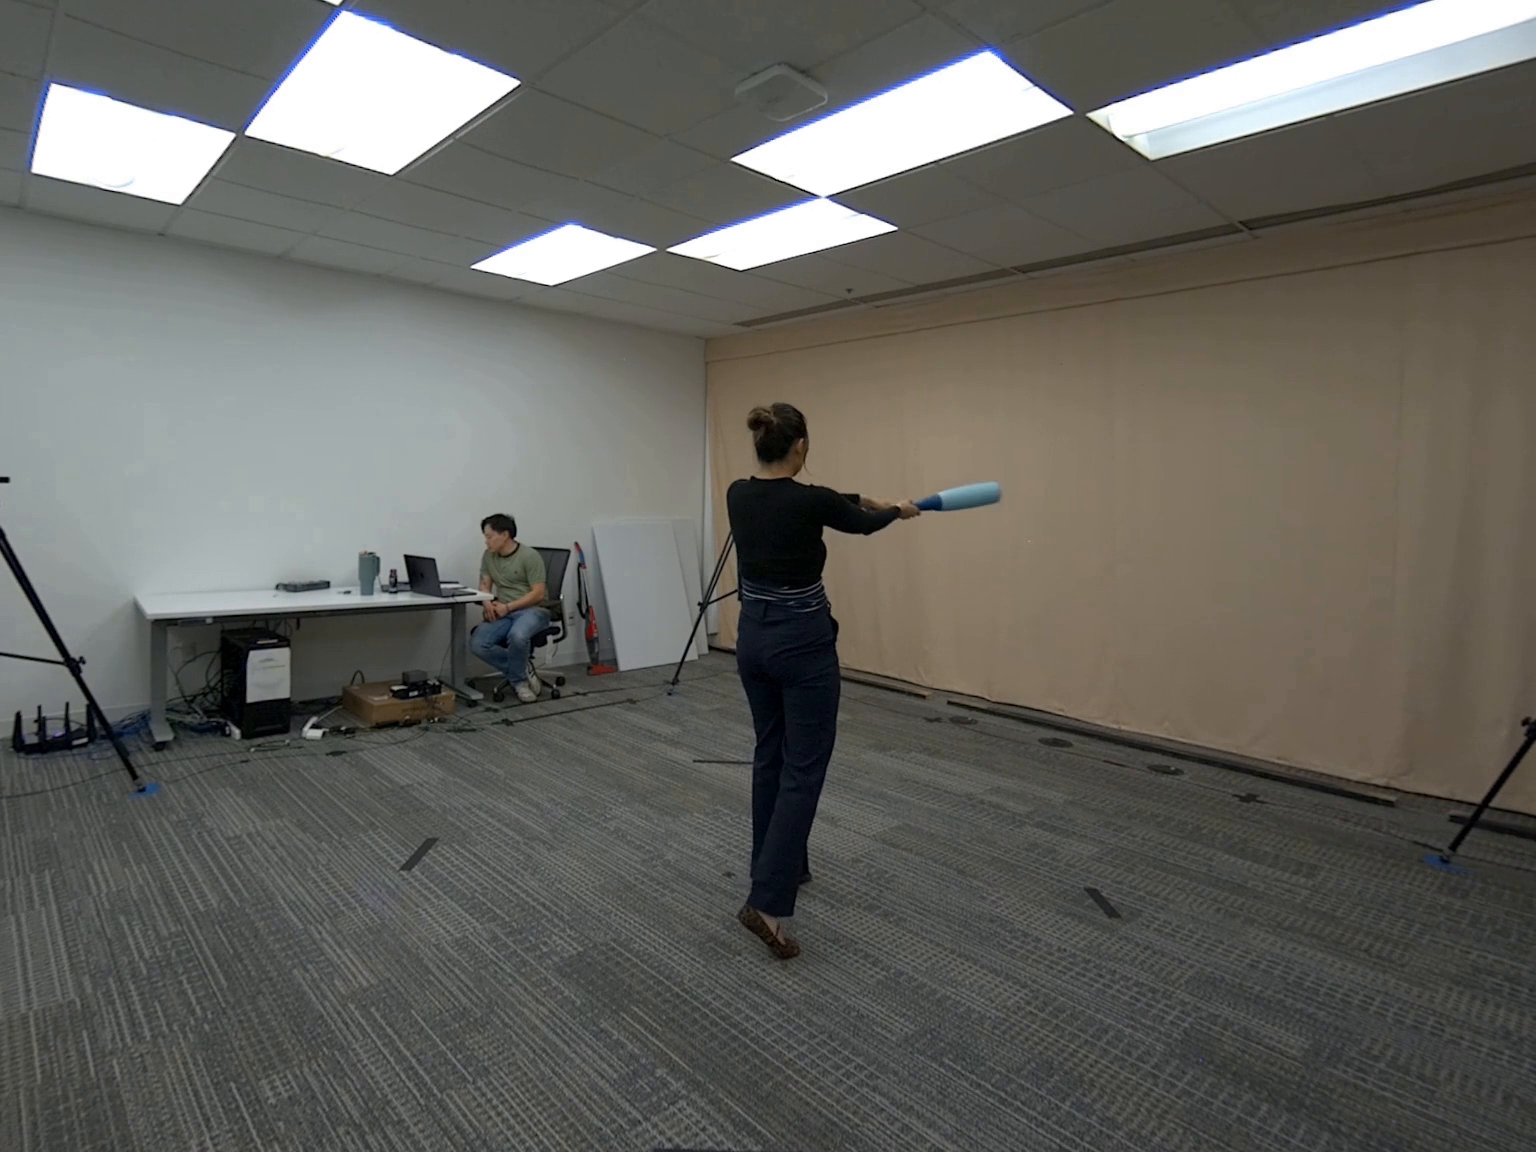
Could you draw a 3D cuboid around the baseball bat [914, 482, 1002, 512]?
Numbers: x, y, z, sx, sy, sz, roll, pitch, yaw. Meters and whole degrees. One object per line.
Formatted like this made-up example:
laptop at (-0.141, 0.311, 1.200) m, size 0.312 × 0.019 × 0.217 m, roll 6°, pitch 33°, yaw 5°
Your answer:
baseball bat at (0.593, -0.274, 3.164) m, size 0.539 × 0.088 × 0.090 m, roll -10°, pitch 7°, yaw -12°
